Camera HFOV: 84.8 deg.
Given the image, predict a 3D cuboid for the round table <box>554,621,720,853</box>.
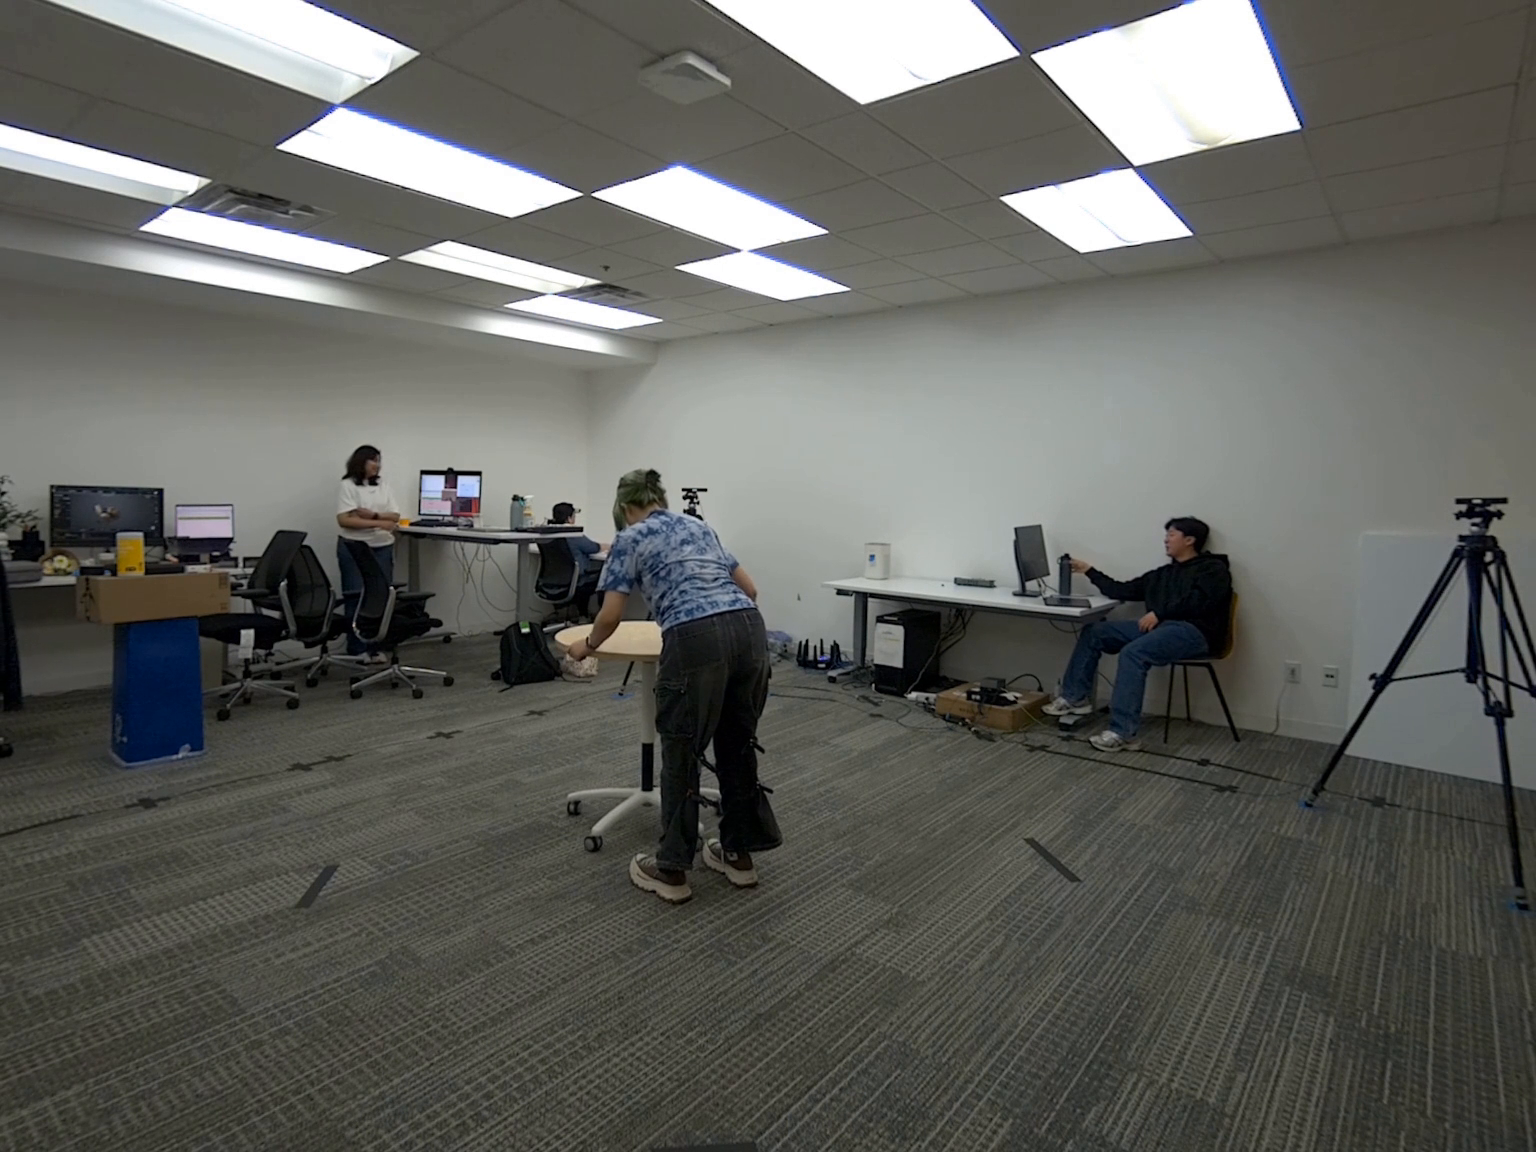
[{"bbox_3d":[-0.507,0.638,3.513,0.763,0.791,0.768,1,4,-2],"label":"round table"}]
